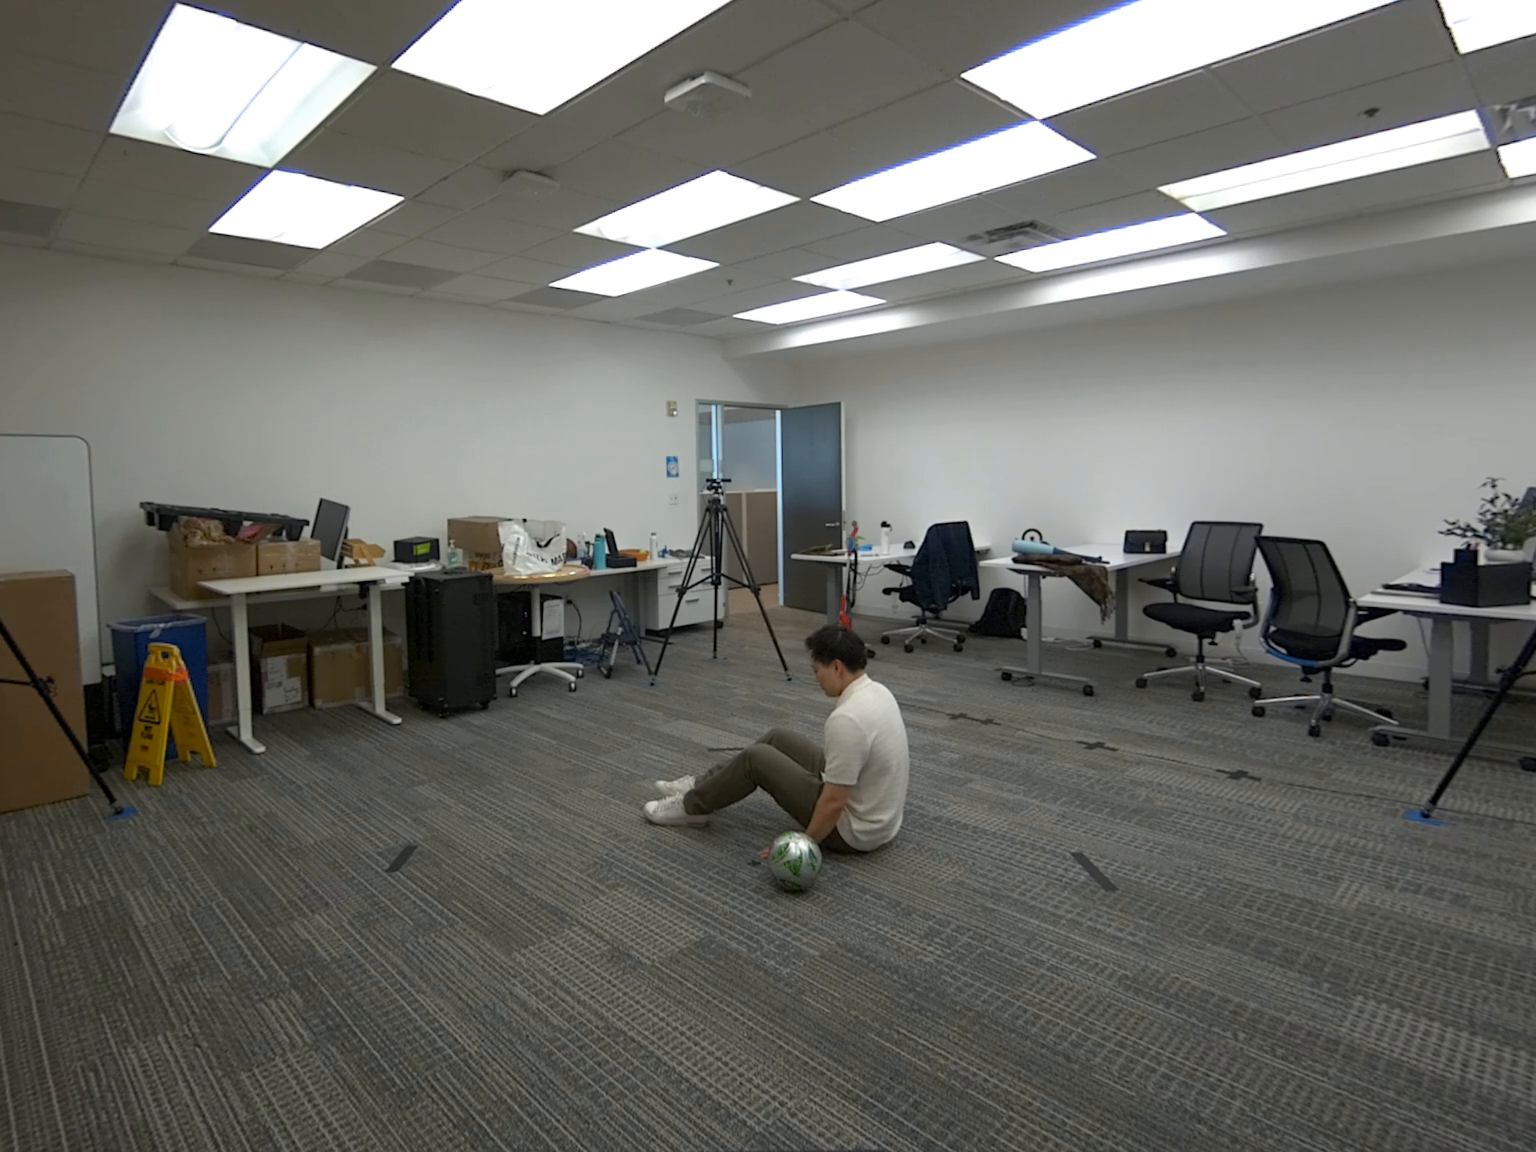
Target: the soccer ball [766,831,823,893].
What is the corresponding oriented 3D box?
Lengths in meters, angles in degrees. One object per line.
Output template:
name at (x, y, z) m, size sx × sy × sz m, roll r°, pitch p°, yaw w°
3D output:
soccer ball at (0.089, 0.971, 2.912) m, size 0.187 × 0.187 × 0.188 m, roll -1°, pitch 5°, yaw -2°
